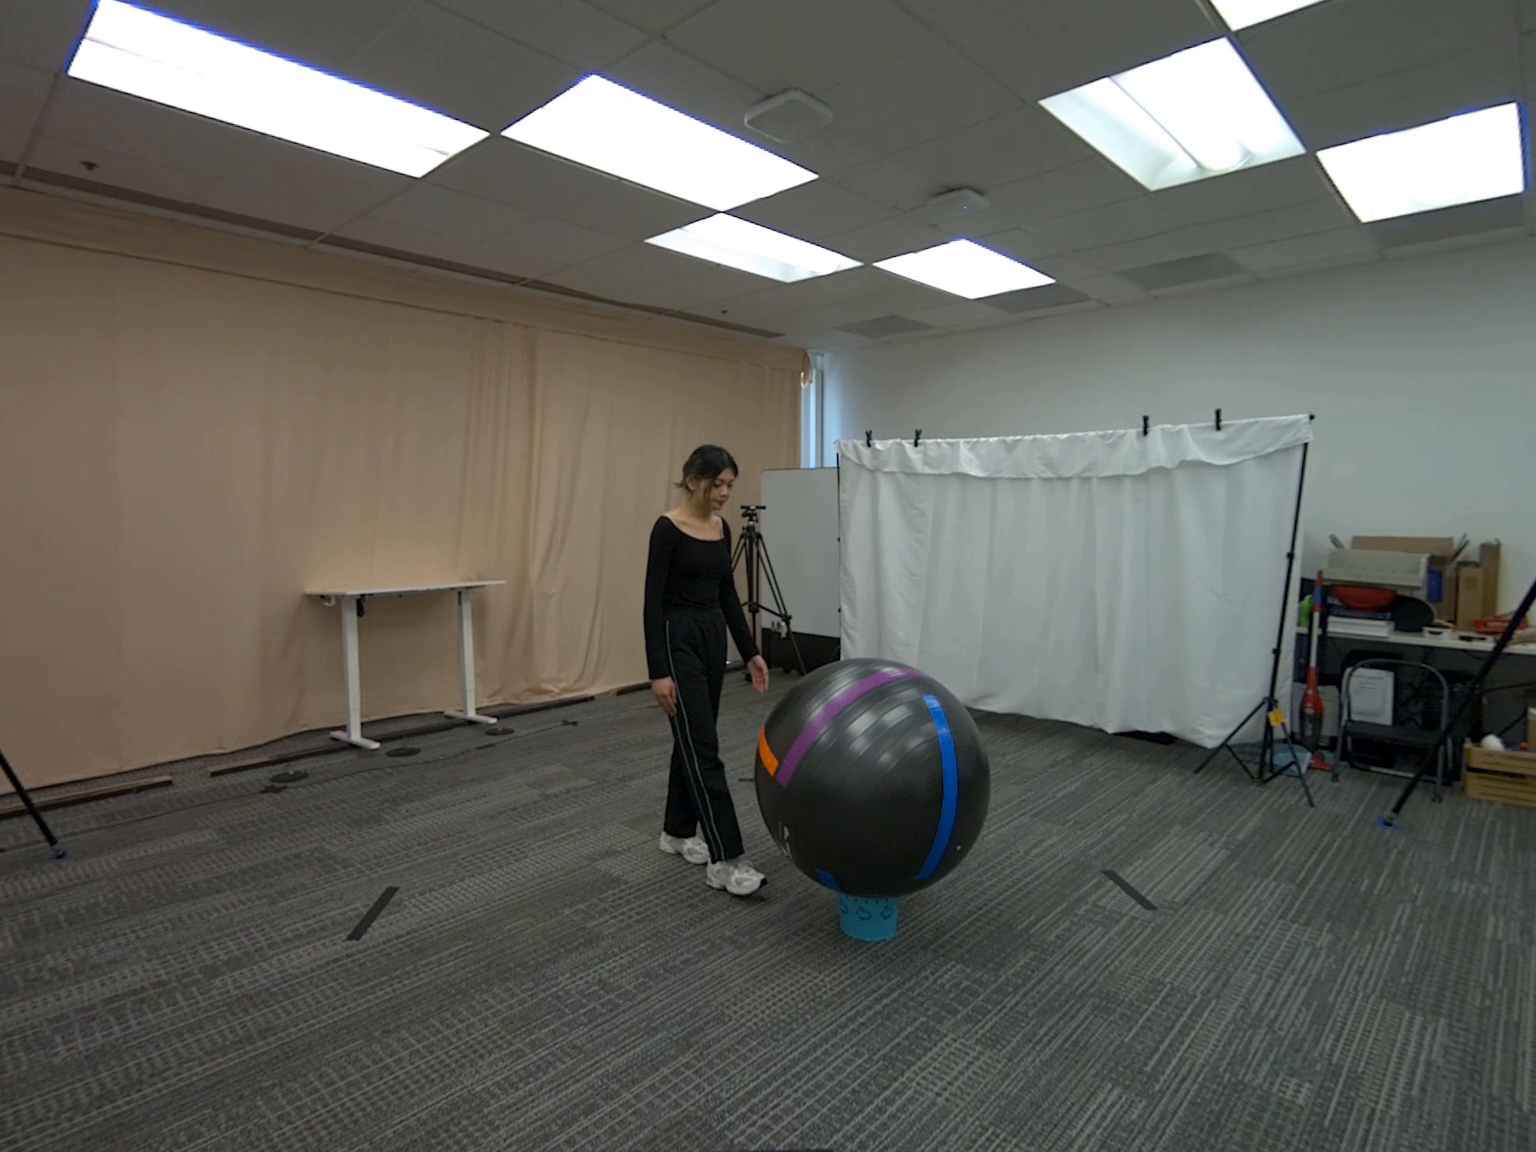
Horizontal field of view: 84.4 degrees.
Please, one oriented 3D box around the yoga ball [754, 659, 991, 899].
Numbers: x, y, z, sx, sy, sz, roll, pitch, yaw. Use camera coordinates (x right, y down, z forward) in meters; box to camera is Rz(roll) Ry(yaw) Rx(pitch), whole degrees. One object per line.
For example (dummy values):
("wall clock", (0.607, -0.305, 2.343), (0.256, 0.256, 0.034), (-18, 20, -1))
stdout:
("yoga ball", (0.338, 0.650, 2.760), (0.757, 0.756, 0.760), (0, 4, -2))
